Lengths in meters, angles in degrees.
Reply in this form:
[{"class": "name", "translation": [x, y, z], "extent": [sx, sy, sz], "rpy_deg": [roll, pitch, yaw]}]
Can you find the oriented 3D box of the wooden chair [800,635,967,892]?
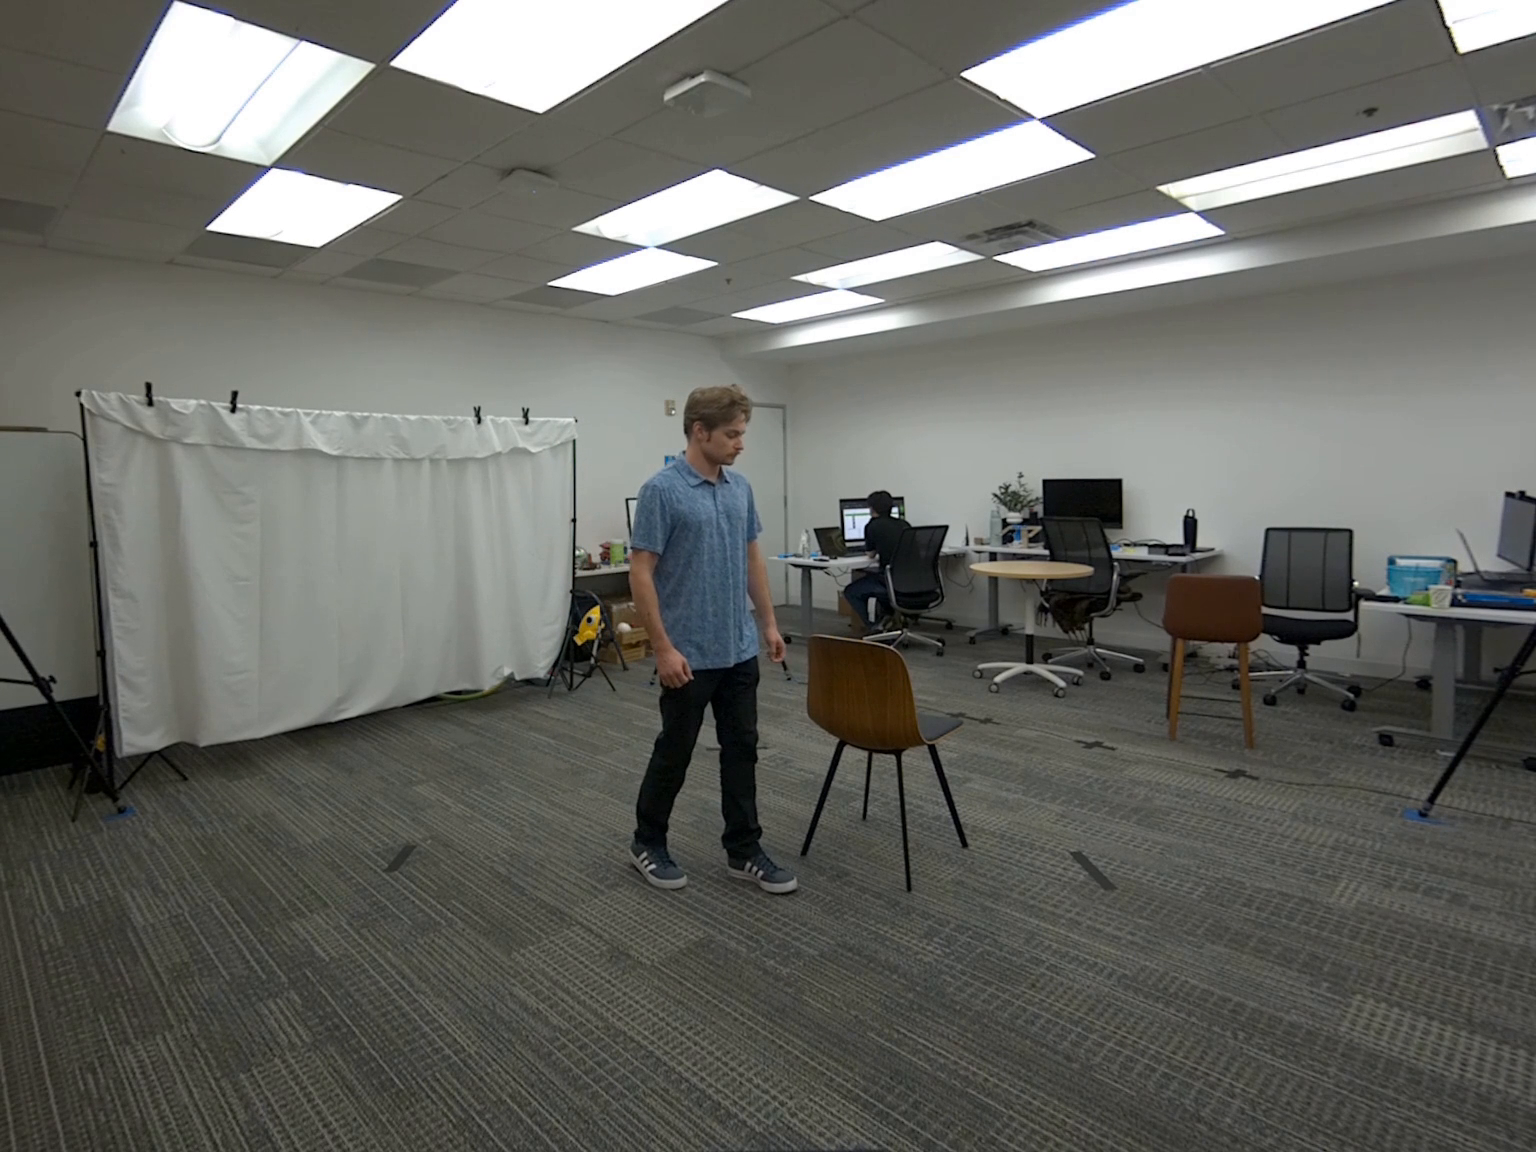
[{"class": "wooden chair", "translation": [0.433, 0.601, 3.158], "extent": [0.492, 0.871, 0.511], "rpy_deg": [2, 10, 39]}]
